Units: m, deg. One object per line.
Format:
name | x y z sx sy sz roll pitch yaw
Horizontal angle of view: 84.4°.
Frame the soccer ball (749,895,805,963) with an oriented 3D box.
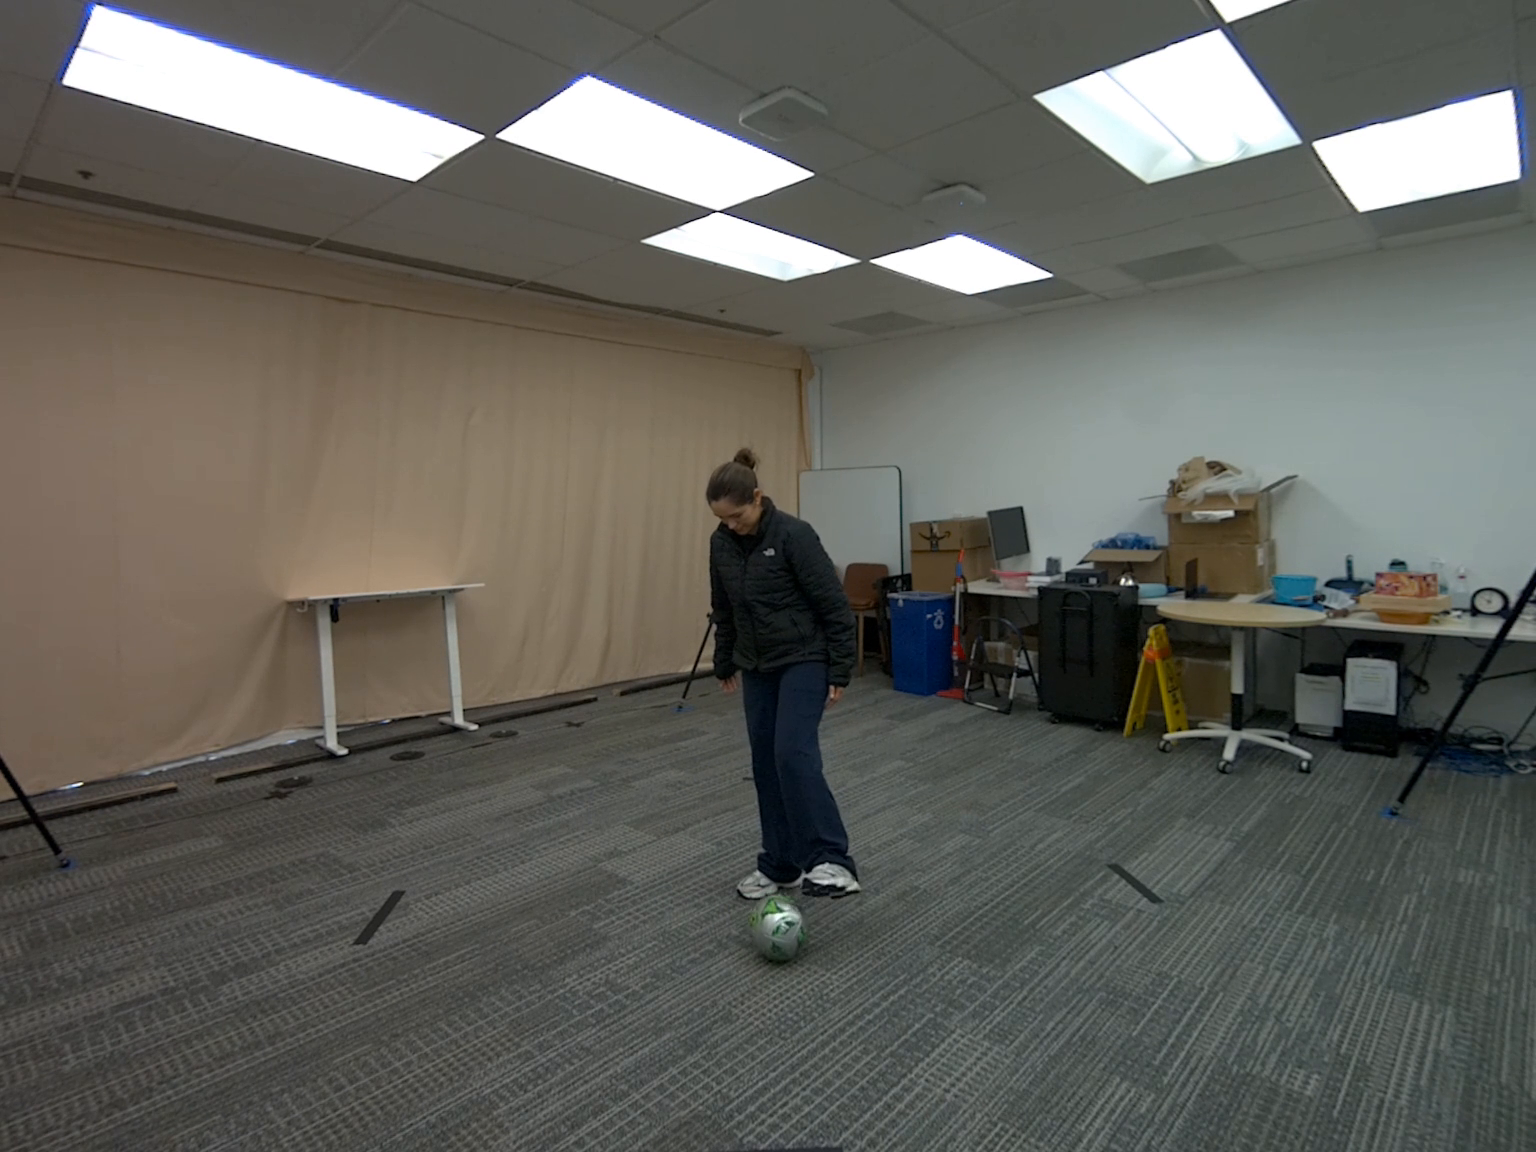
soccer ball | 0.027 1.075 2.590 0.187 0.187 0.188 -1 4 -2
